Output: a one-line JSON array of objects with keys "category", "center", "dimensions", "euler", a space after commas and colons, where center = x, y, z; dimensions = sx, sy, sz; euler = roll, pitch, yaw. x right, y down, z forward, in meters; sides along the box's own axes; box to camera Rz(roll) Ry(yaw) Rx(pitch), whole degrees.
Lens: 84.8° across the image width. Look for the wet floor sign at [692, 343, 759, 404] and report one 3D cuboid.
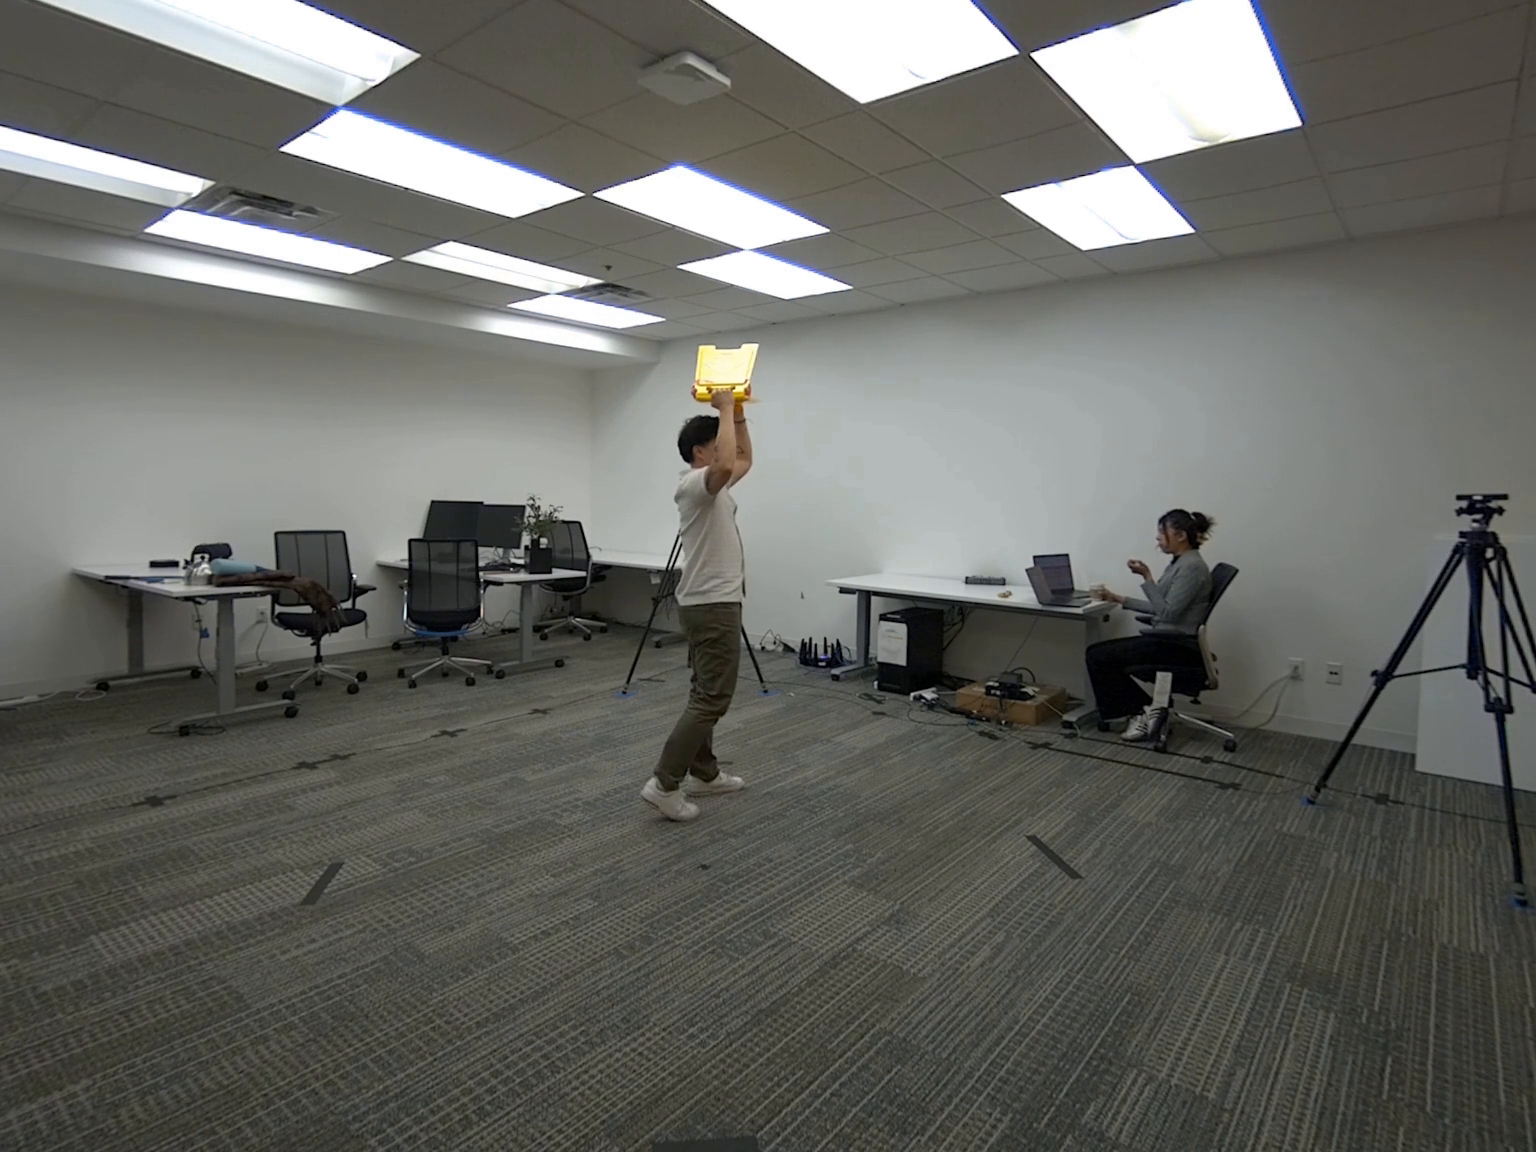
[{"category": "wet floor sign", "center": [-0.196, -0.851, 3.745], "dimensions": [0.283, 0.284, 0.656], "euler": [-1, 21, 2]}]
